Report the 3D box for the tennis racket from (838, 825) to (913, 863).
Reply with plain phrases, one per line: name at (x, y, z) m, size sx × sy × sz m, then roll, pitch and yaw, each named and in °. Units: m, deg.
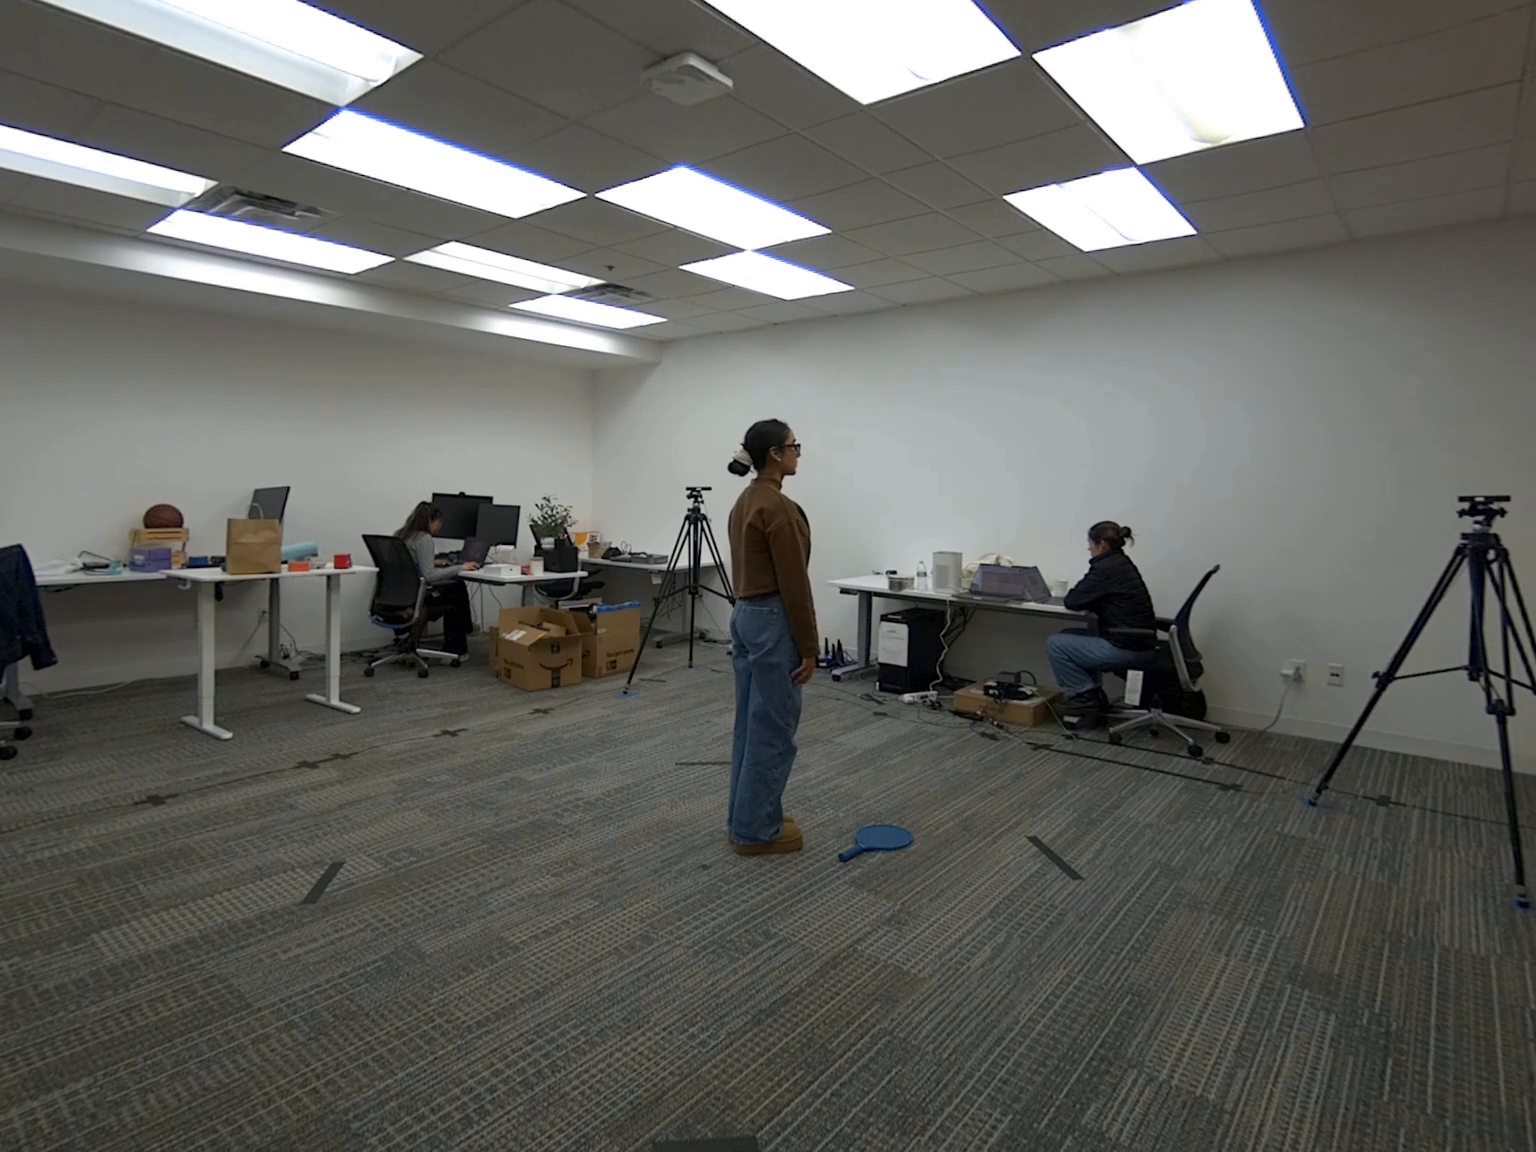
tennis racket at (0.402, 1.044, 3.344) m, size 0.221 × 0.031 × 0.420 m, roll 6°, pitch 6°, yaw 42°
